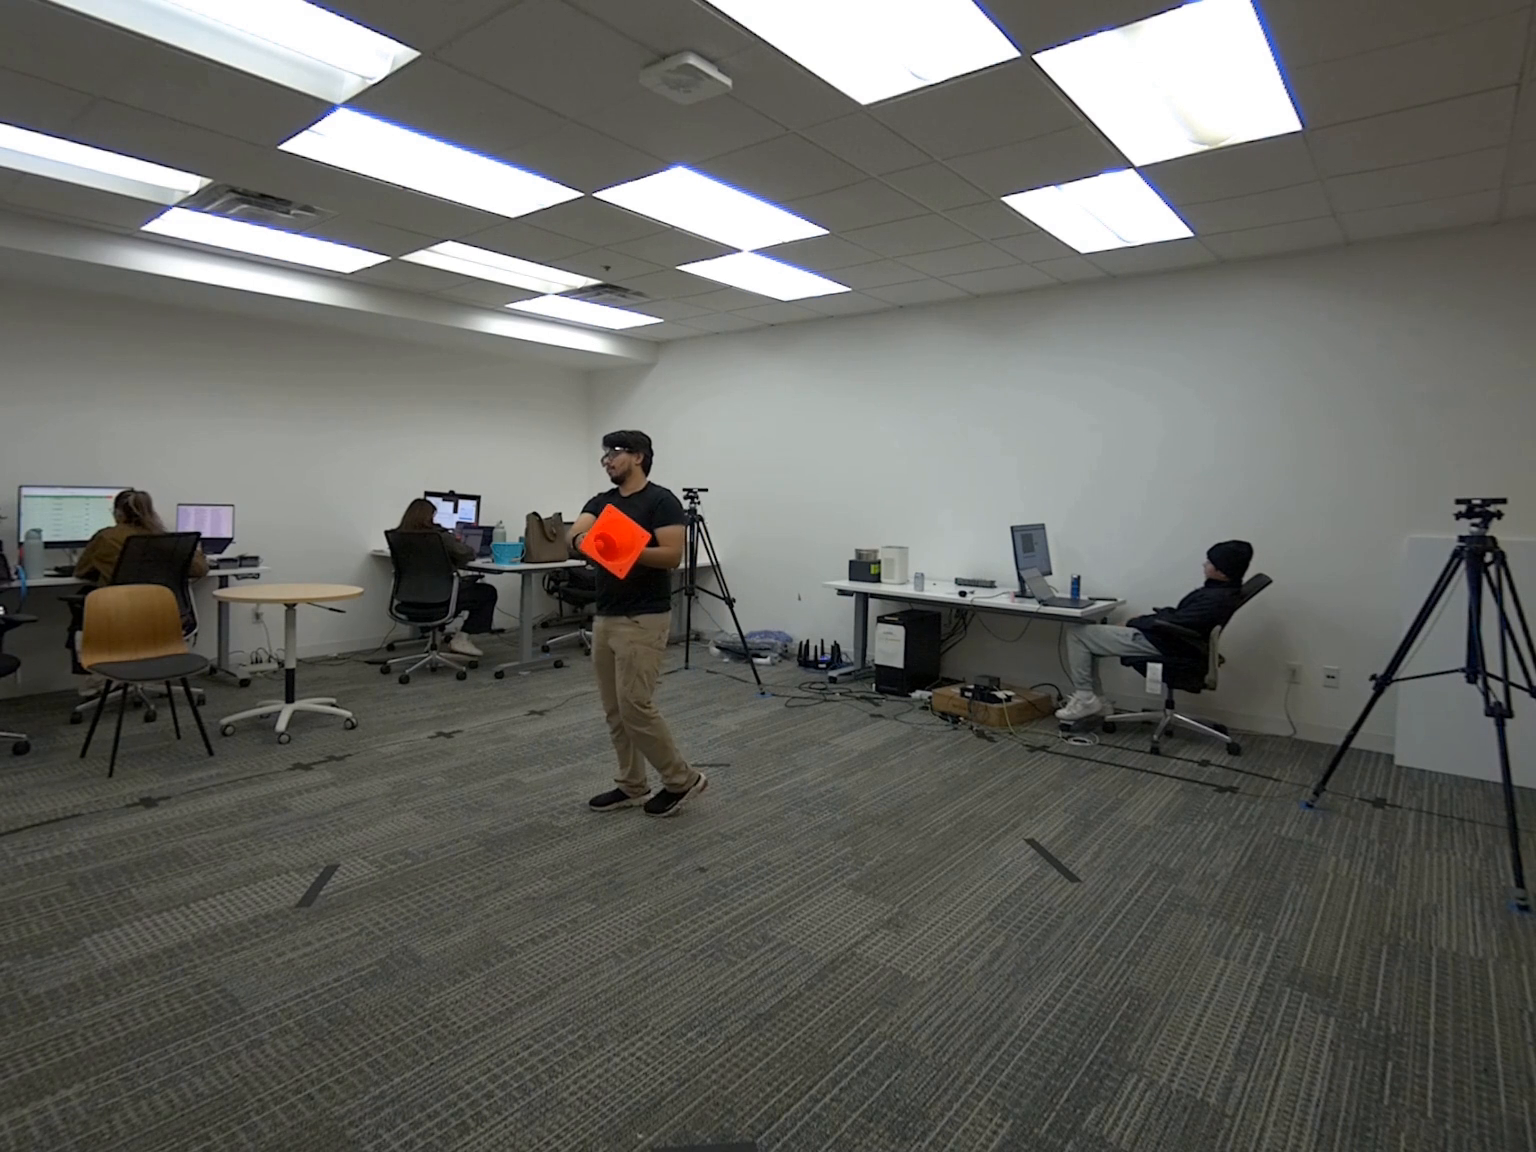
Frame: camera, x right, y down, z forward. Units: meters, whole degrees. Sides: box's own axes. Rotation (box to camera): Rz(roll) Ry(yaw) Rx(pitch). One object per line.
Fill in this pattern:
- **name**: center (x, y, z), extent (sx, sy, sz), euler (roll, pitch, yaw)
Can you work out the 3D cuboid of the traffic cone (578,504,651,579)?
- **traffic cone**: center (-0.632, -0.099, 3.205), extent (0.200, 0.206, 0.387), euler (34, -17, -11)
